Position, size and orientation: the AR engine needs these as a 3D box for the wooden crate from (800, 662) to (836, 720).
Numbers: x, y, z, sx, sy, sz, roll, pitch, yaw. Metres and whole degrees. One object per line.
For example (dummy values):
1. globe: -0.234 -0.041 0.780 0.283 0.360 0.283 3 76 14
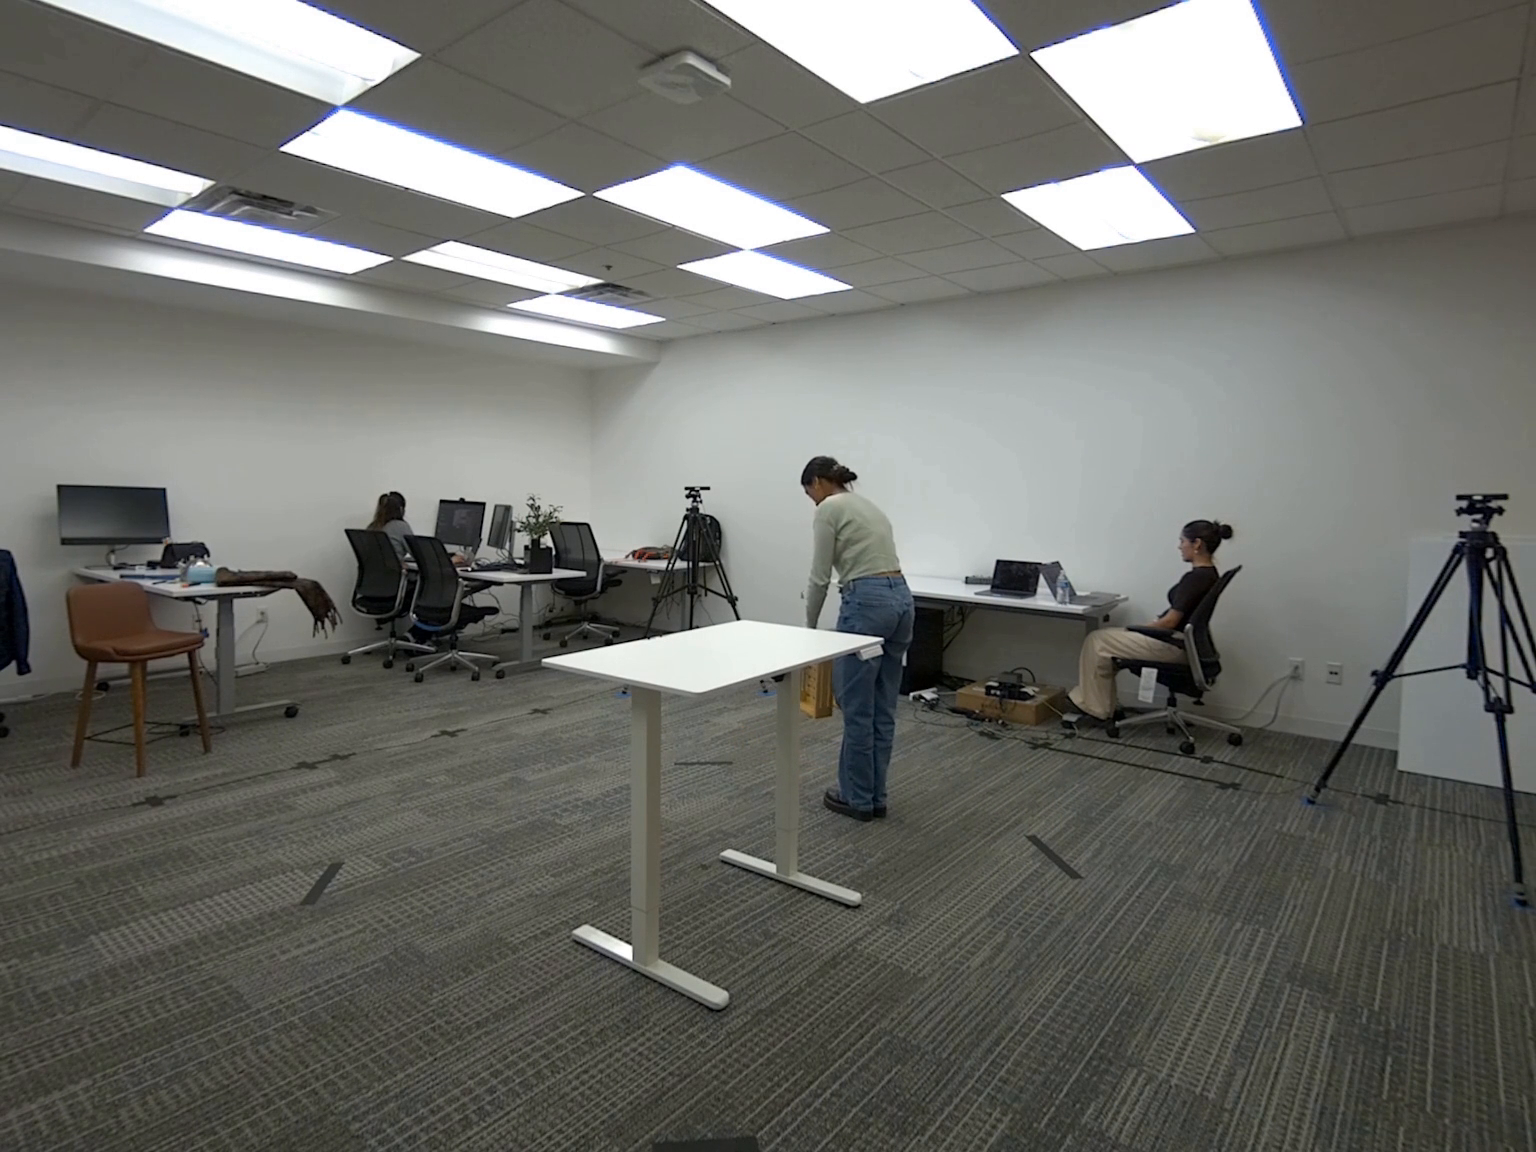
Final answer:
1. wooden crate: 0.228 0.436 3.865 0.266 0.322 0.312 -3 9 -31
